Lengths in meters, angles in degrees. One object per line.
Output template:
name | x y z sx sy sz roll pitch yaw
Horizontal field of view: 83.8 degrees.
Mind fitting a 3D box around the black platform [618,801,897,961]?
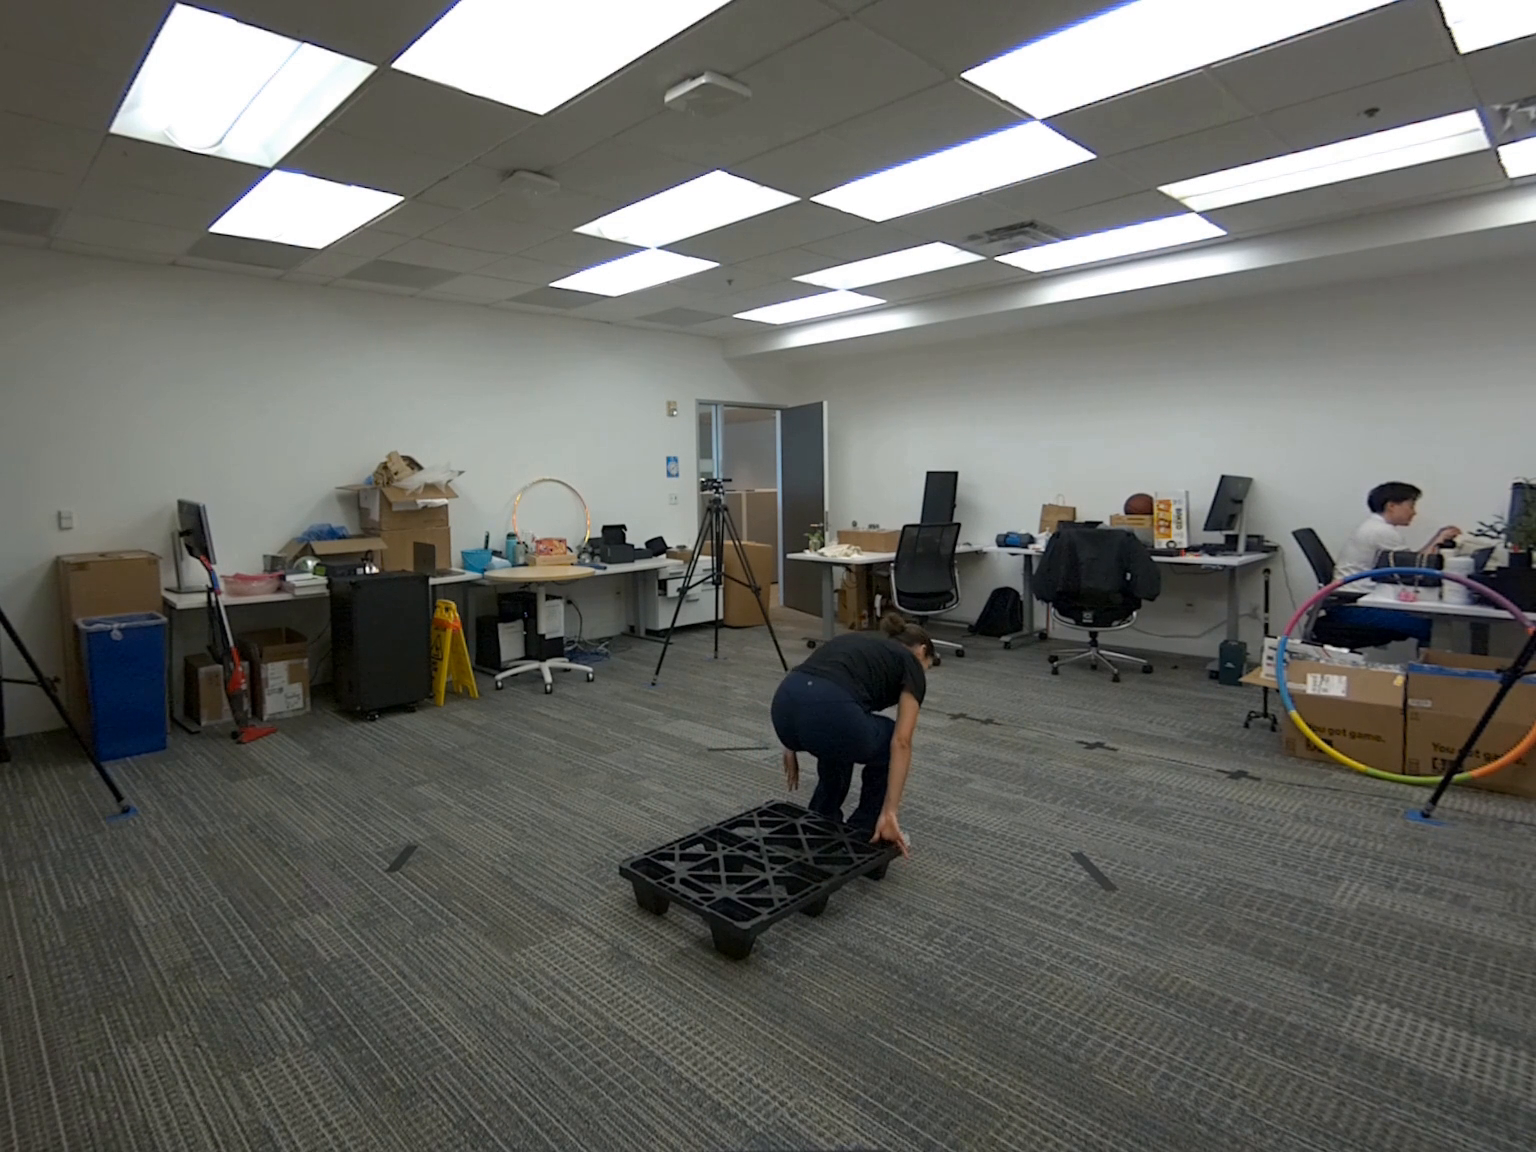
black platform | -0.007 1.003 2.902 0.624 0.142 0.785 6 10 43
